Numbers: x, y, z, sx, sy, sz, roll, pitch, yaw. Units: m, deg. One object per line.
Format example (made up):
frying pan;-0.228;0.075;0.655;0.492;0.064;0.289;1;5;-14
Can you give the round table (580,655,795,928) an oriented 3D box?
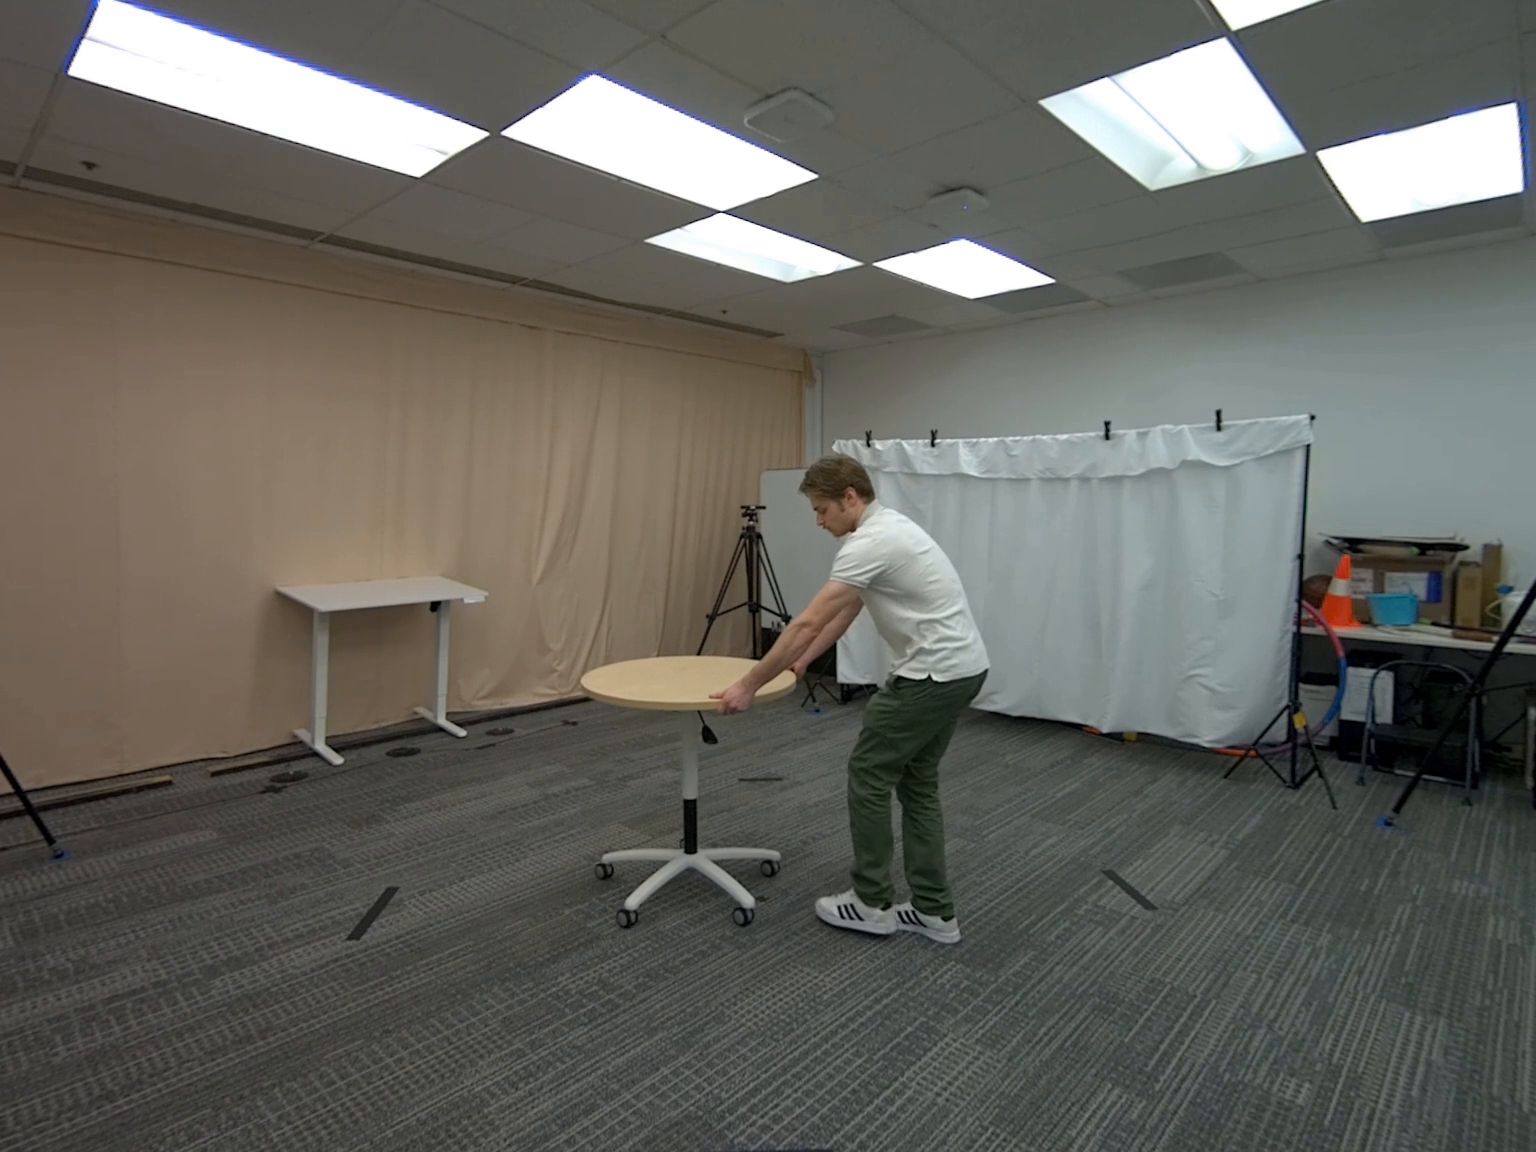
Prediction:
round table;-0.265;0.745;3.040;0.784;0.784;0.788;-1;4;-2
